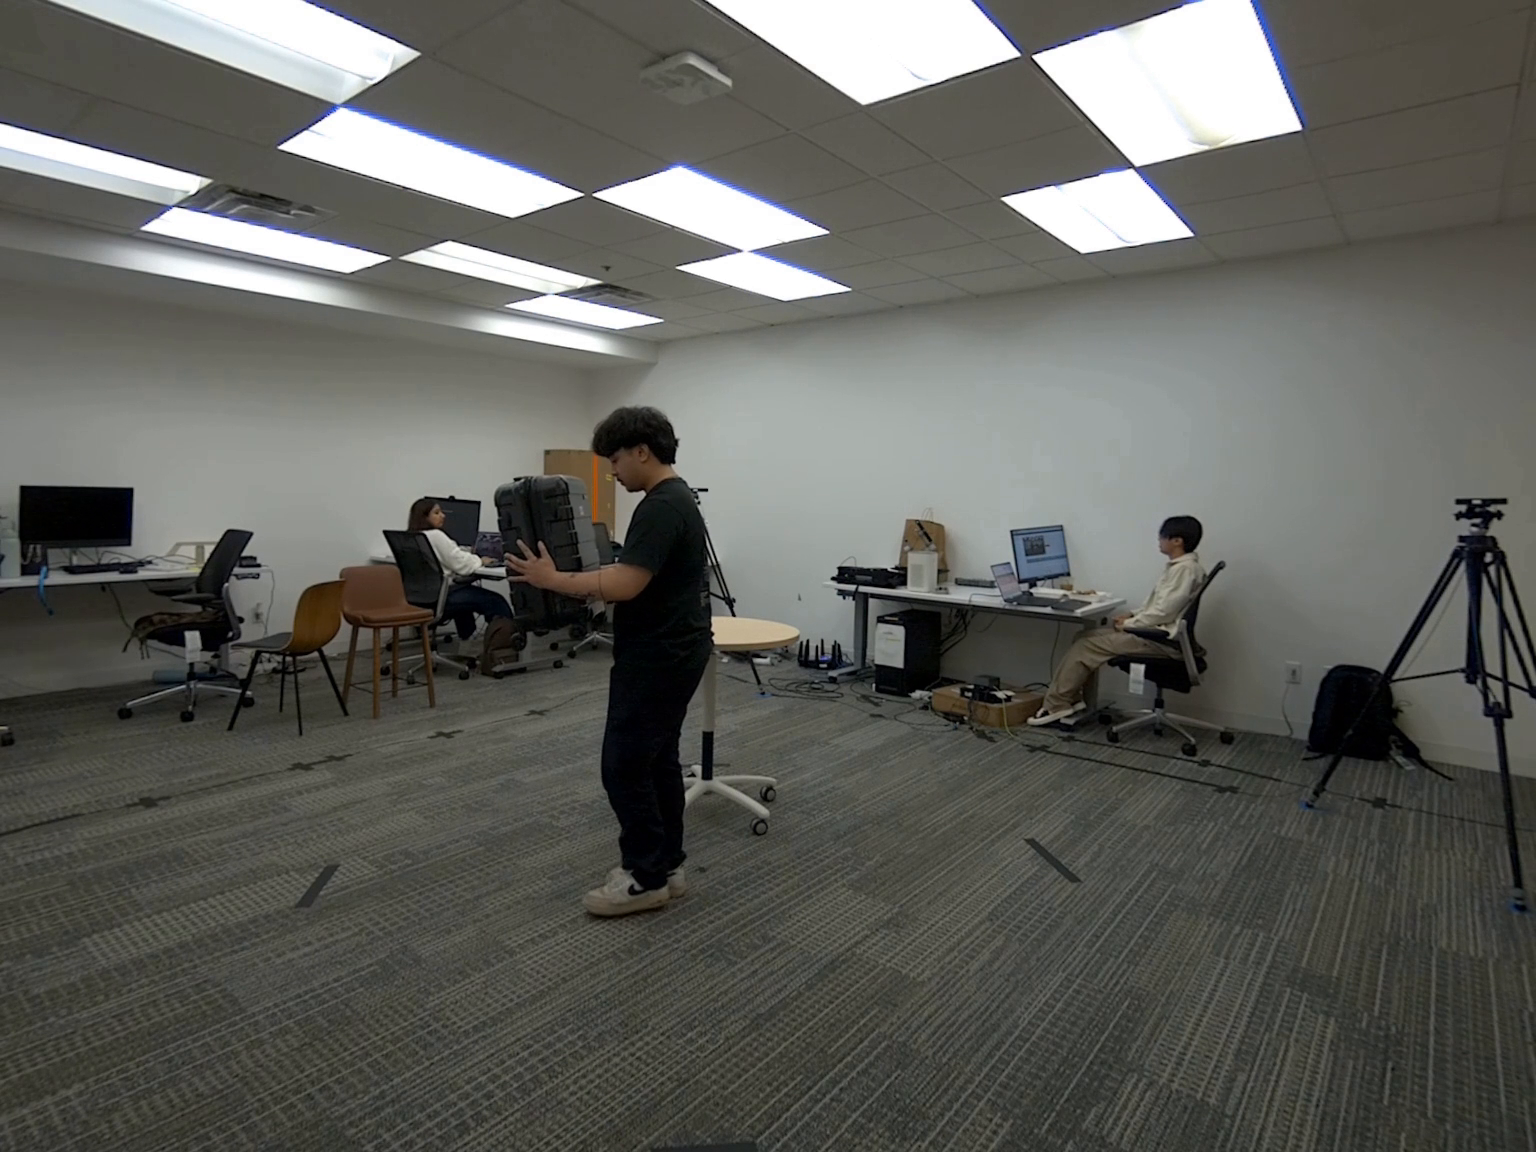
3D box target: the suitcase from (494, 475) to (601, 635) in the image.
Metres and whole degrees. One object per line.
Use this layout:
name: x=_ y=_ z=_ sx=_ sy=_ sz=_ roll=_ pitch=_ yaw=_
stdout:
suitcase: x=-0.745 y=-0.066 z=2.860 sx=0.249 sy=0.549 sz=0.375 roll=-7 pitch=2 yaw=2
